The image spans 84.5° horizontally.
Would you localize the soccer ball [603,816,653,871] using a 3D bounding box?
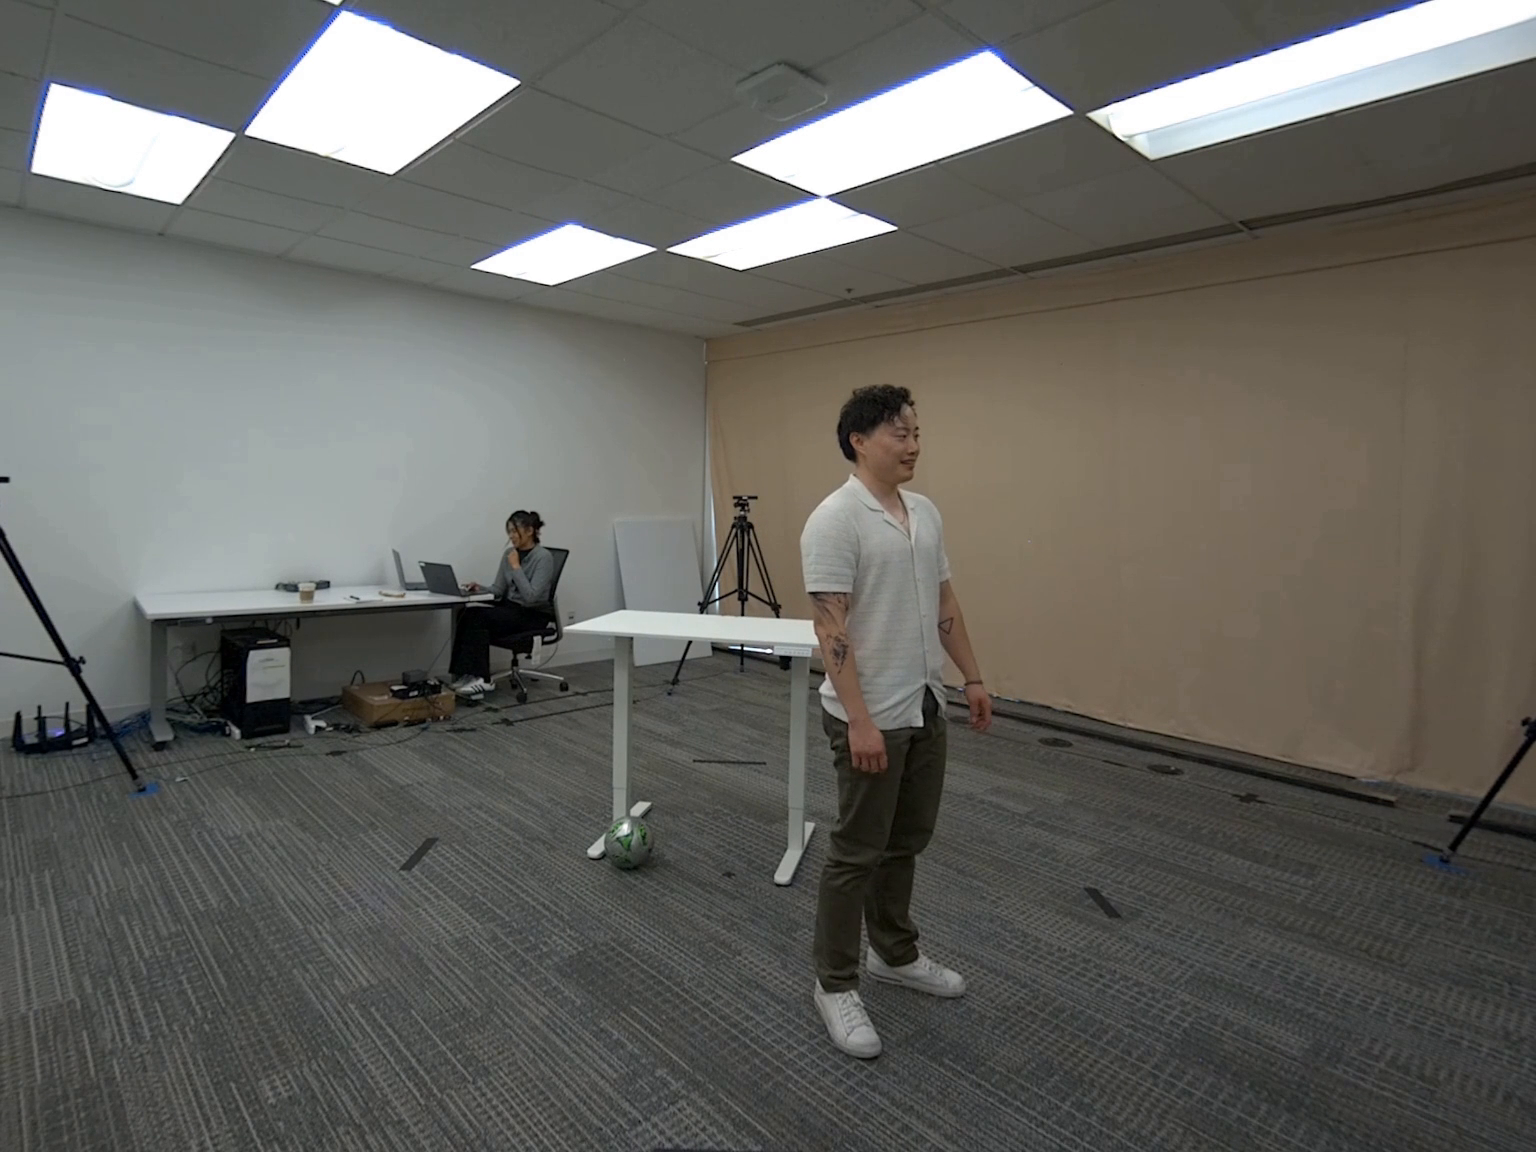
[{"bbox_3d":[-0.531,0.994,3.143,0.187,0.187,0.188,1,4,-1],"label":"soccer ball"}]
